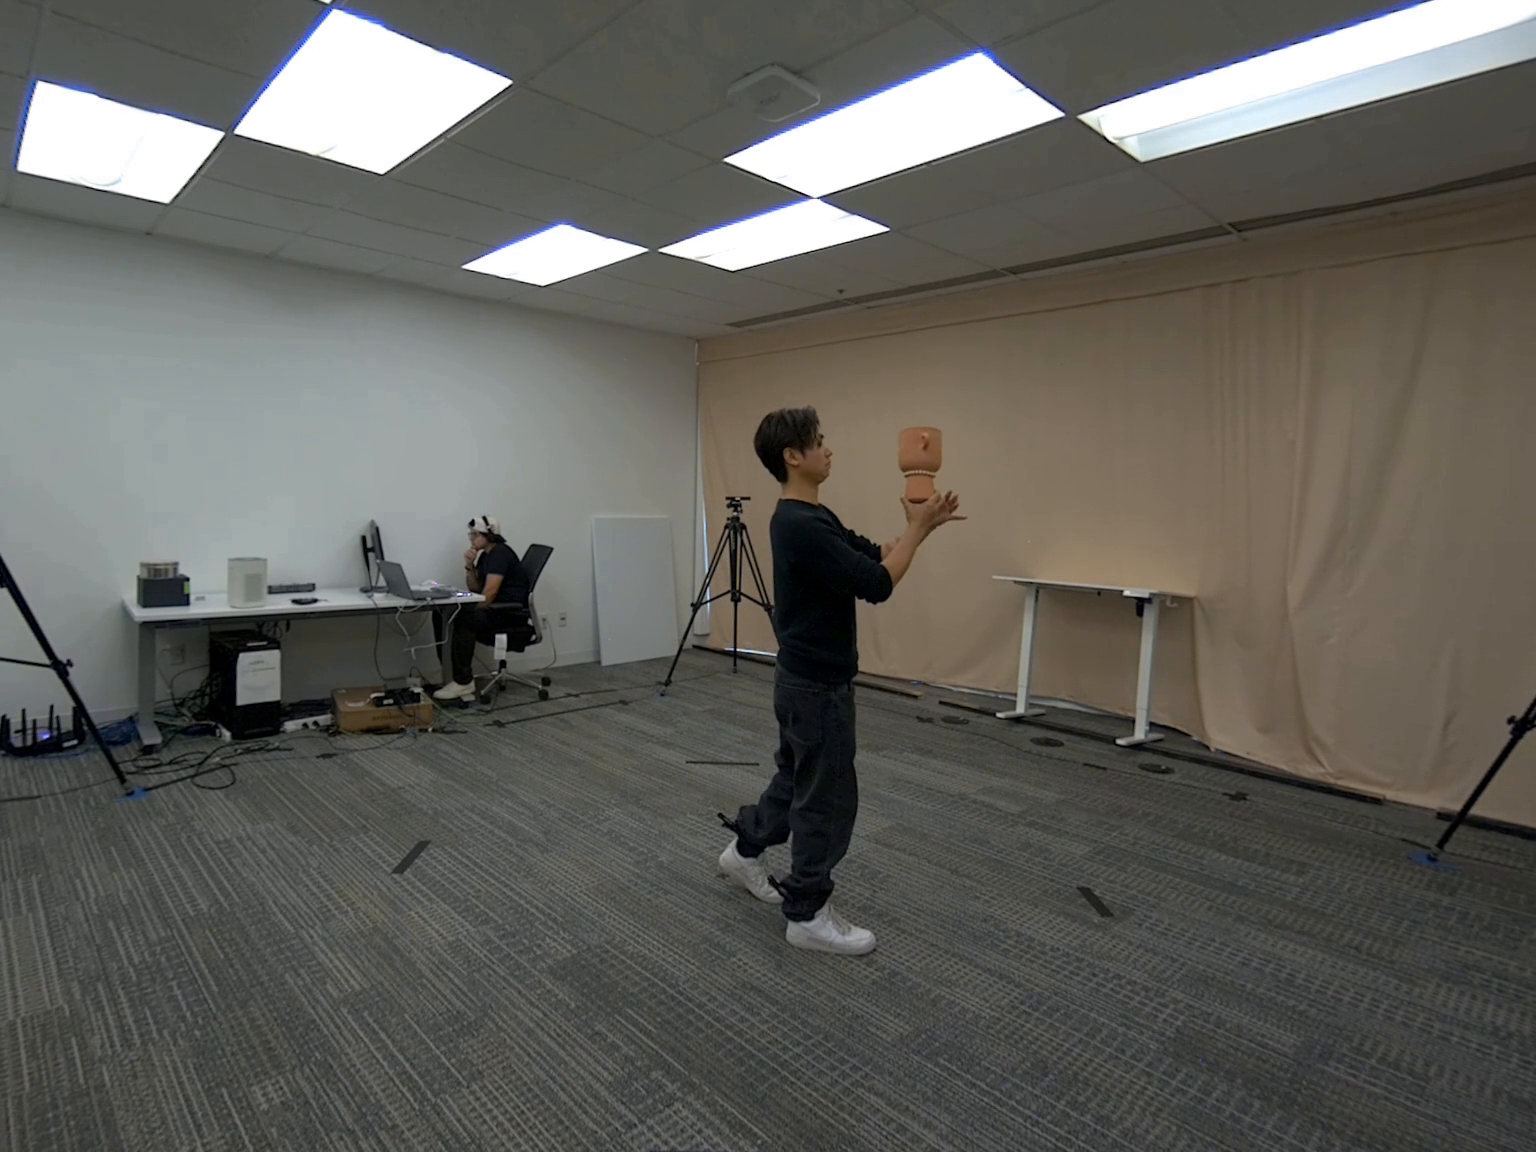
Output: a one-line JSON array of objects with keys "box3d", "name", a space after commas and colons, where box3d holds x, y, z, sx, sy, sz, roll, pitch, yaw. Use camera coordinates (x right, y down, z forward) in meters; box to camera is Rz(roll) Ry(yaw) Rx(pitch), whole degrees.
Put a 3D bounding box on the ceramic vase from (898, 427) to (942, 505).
[{"box3d": [0.461, -0.338, 2.602, 0.137, 0.221, 0.155, -3, -7, 38], "name": "ceramic vase"}]
